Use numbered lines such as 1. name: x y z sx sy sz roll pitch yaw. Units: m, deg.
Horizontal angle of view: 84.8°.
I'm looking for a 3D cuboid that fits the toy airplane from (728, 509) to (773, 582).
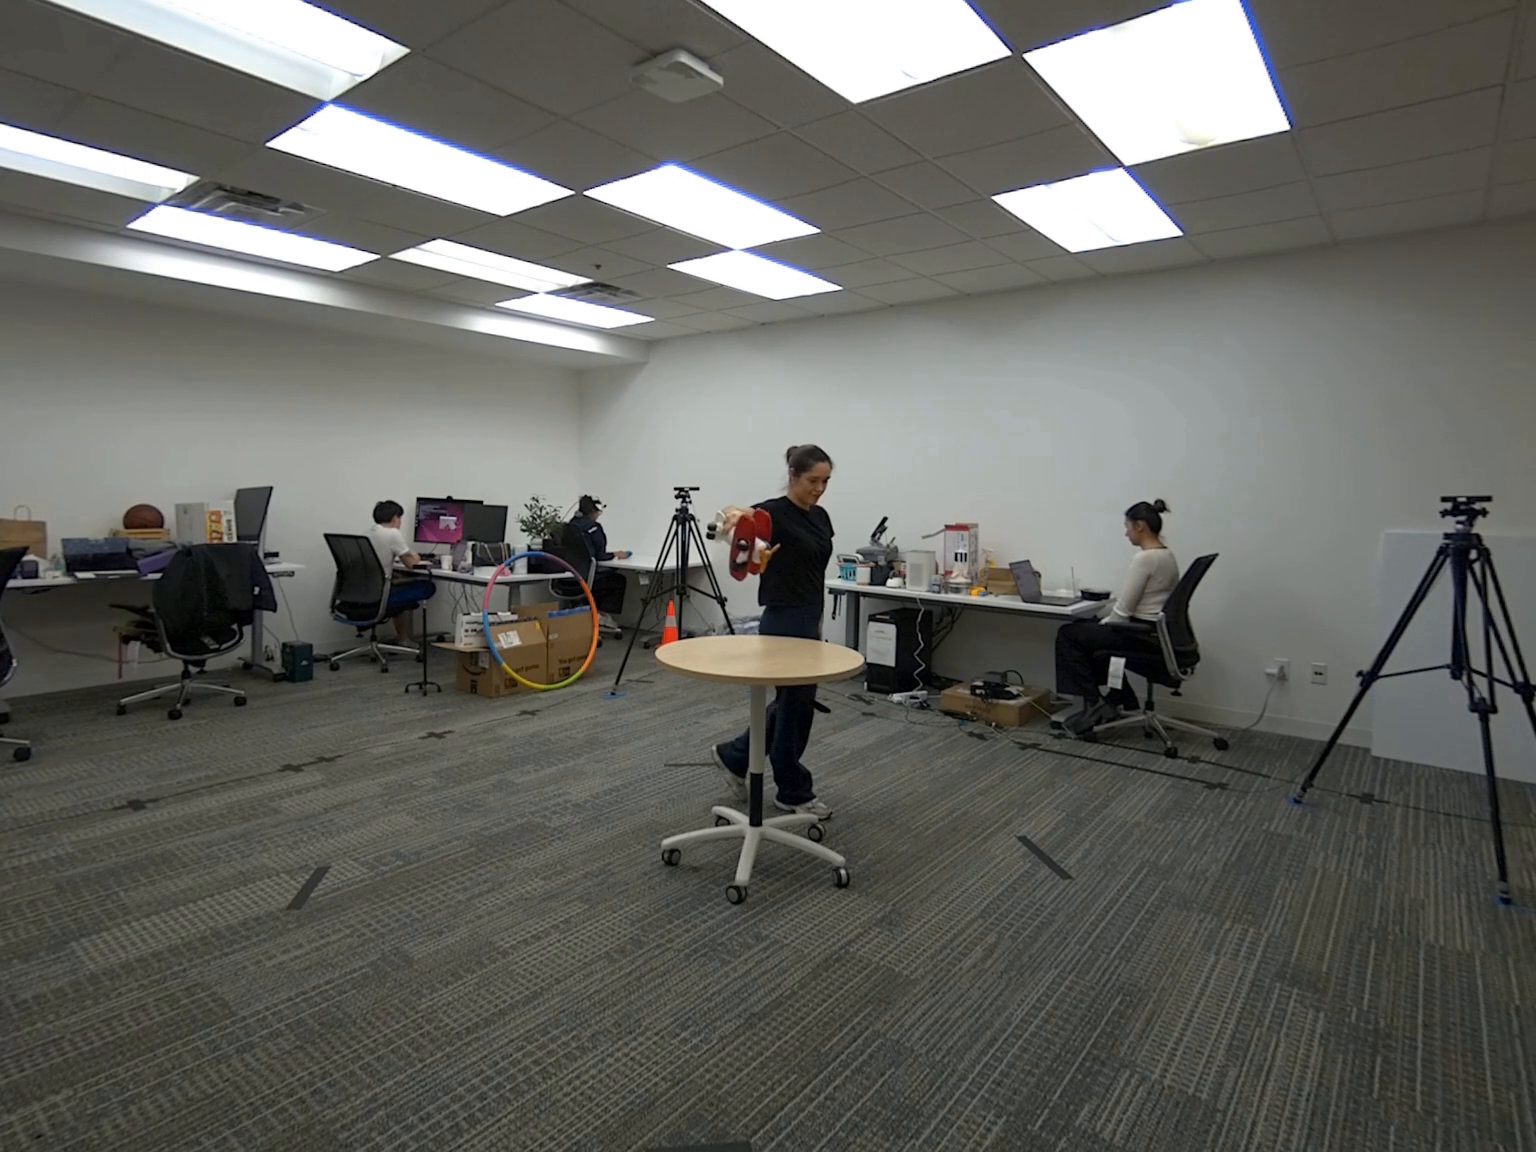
1. toy airplane: -0.083 -0.145 3.000 0.152 0.267 0.250 -10 -27 -34
